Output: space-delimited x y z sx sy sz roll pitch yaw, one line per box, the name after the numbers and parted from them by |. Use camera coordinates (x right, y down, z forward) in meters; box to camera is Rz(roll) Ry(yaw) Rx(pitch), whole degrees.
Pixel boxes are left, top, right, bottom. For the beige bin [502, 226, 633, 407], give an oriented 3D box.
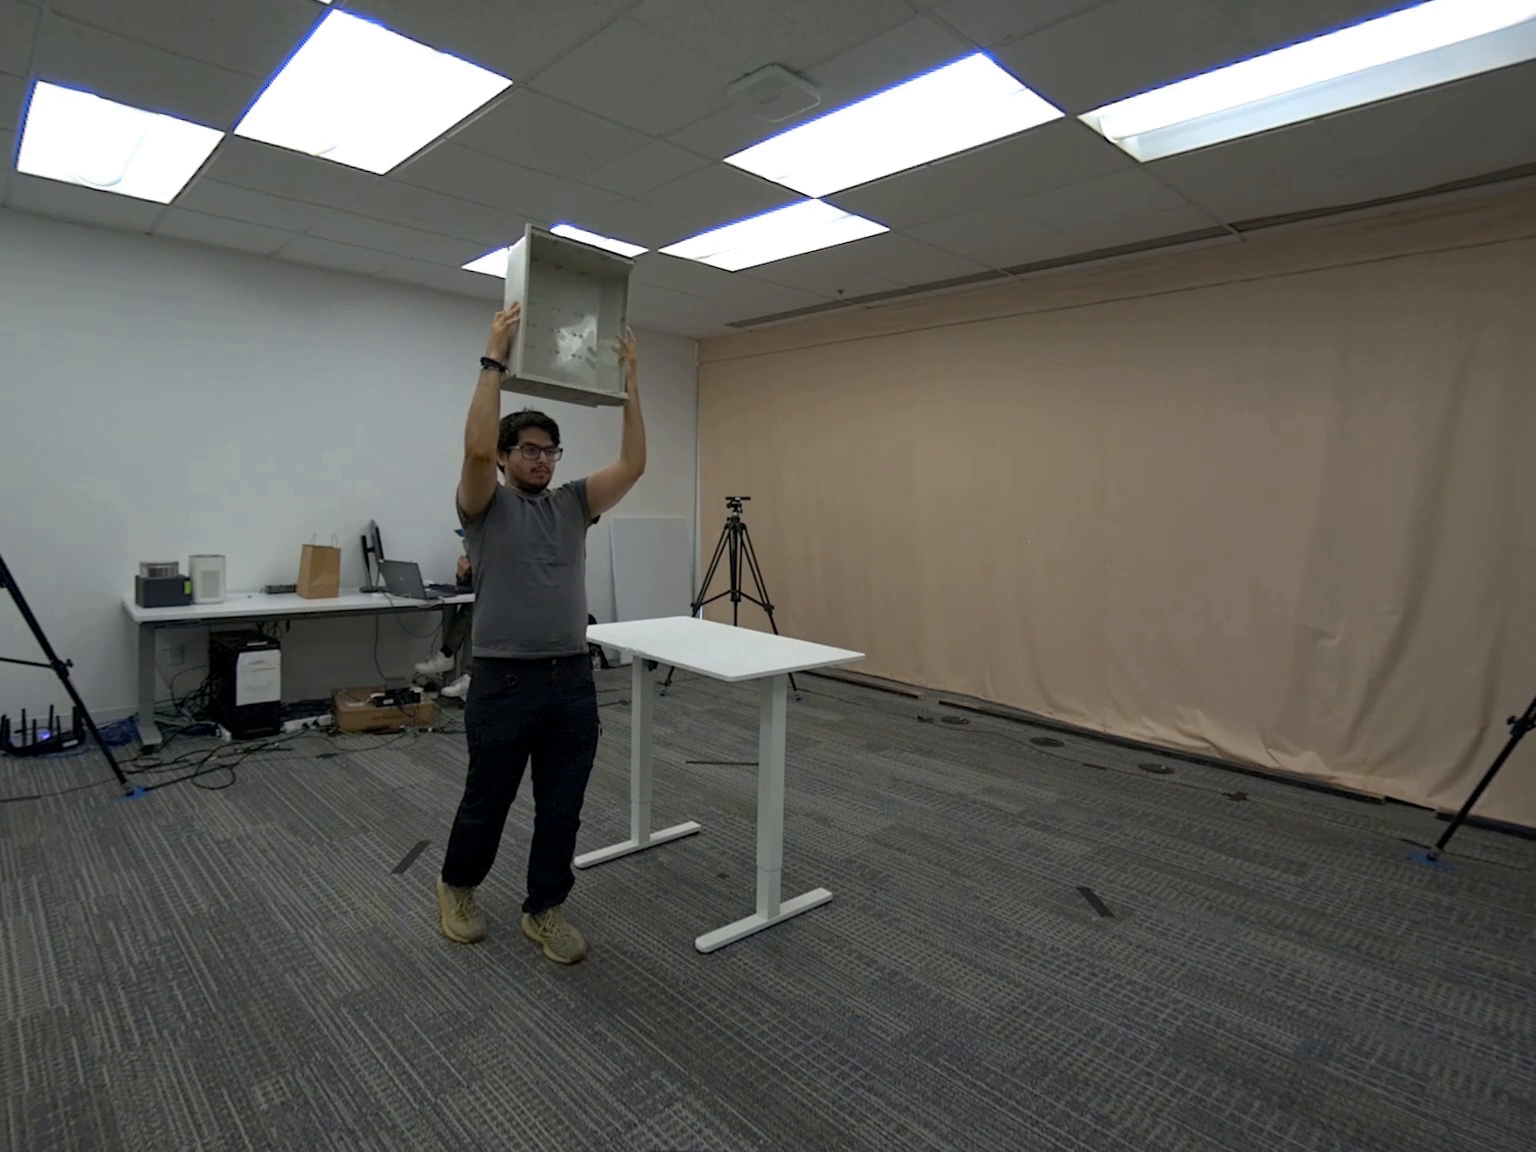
-0.568 -0.724 2.411 0.368 0.423 0.193 4 -4 -37 | beige bin
